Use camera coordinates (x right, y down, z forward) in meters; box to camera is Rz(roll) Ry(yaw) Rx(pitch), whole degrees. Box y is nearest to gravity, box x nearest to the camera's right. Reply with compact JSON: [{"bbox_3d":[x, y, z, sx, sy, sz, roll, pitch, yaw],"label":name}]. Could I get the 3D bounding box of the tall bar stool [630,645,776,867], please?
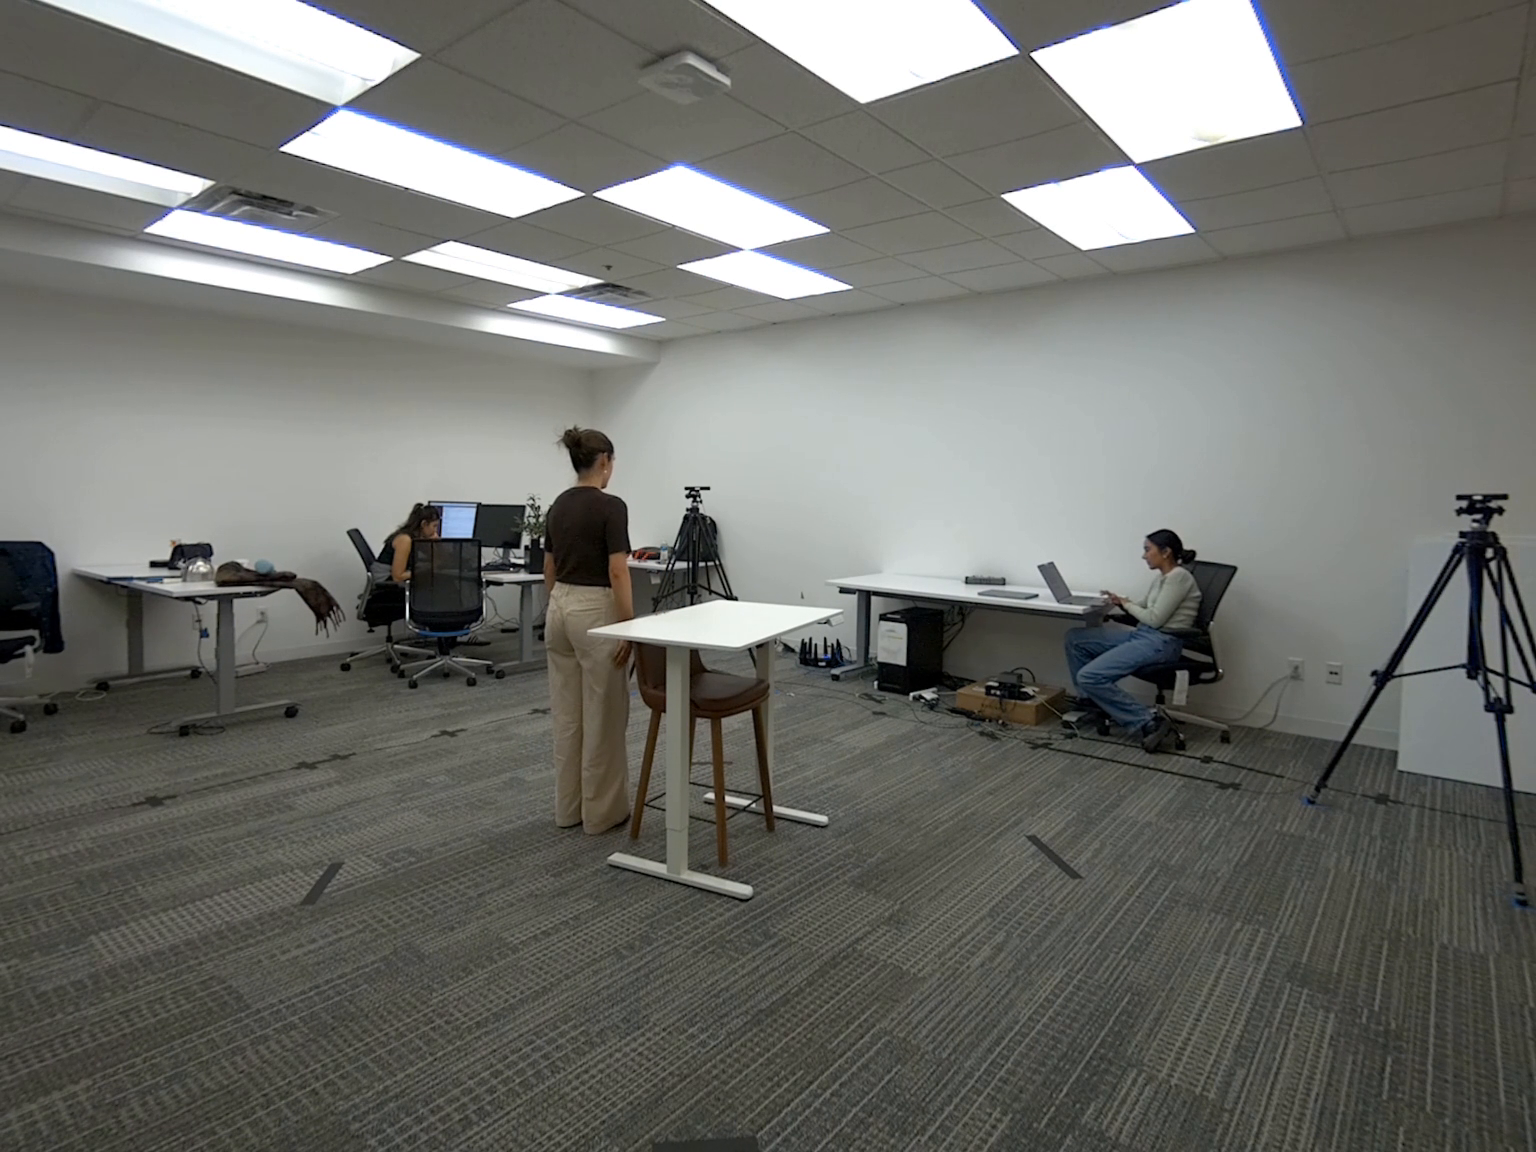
[{"bbox_3d":[-0.273,0.604,3.386,0.480,0.888,0.445,0,3,29],"label":"tall bar stool"}]
